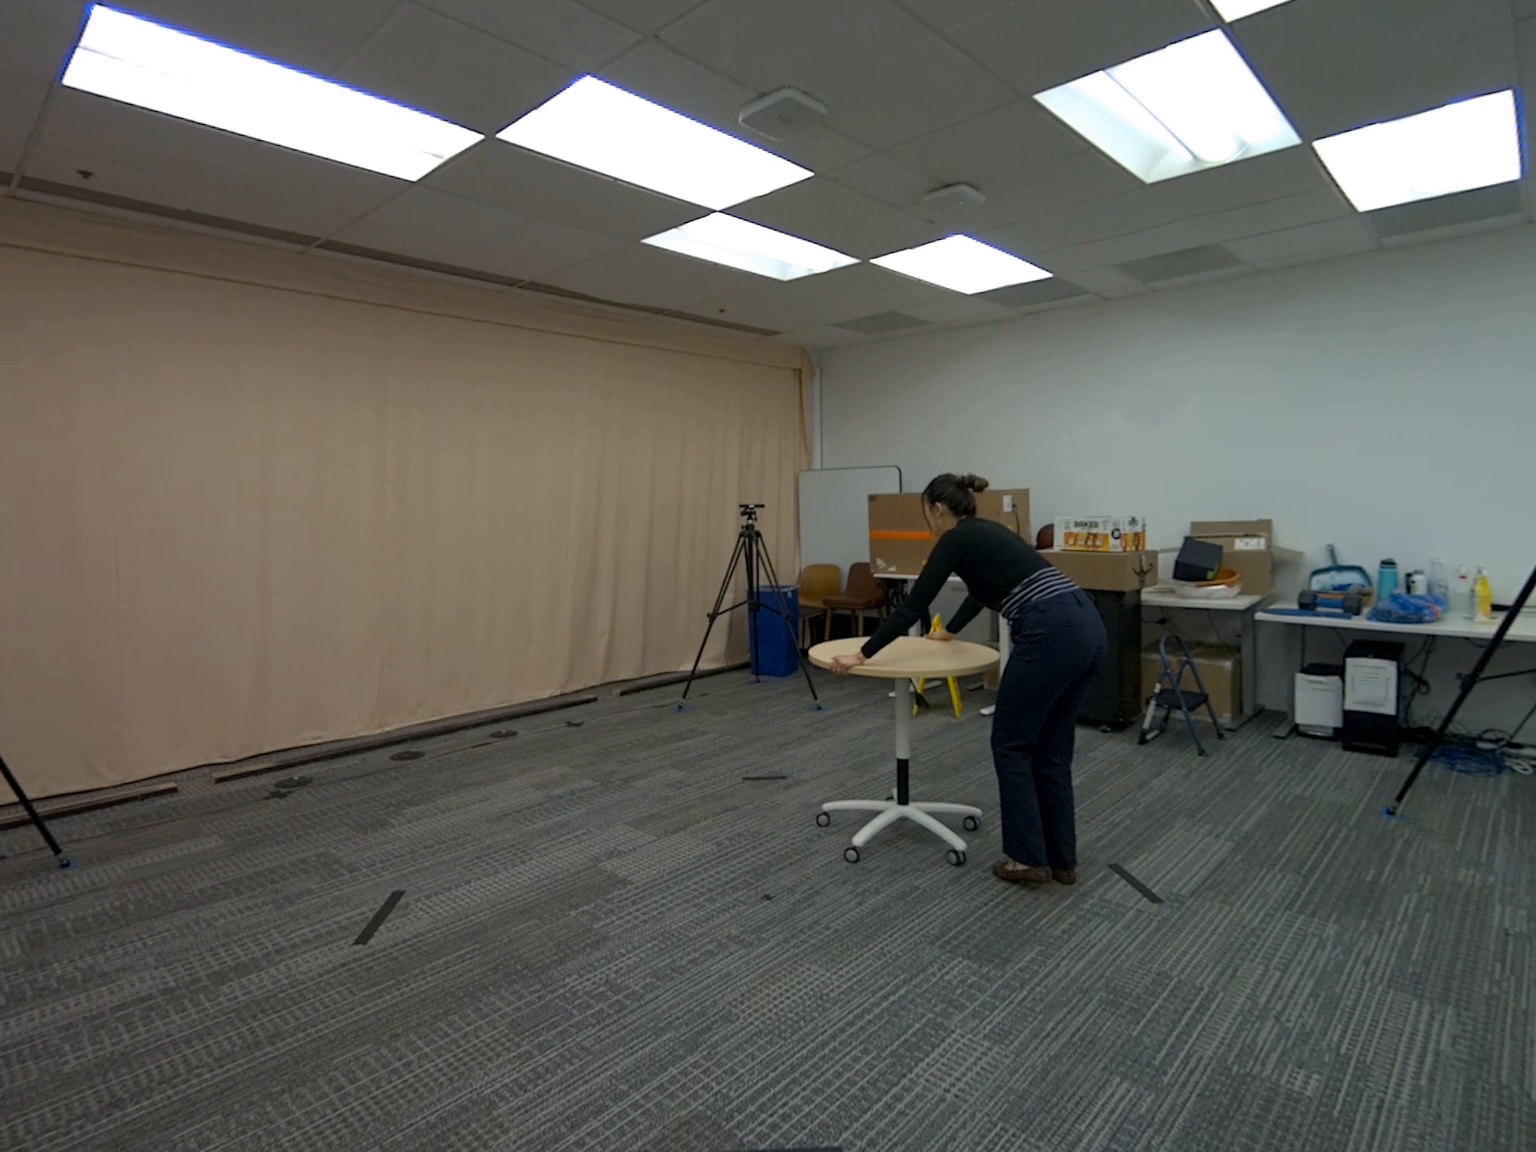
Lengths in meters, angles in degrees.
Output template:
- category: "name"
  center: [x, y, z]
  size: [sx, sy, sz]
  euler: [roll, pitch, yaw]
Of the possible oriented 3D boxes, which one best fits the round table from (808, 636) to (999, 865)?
- category: "round table"
  center: [0.545, 0.702, 3.487]
  size: [0.763, 0.792, 0.767]
  euler: [-1, 4, -2]
